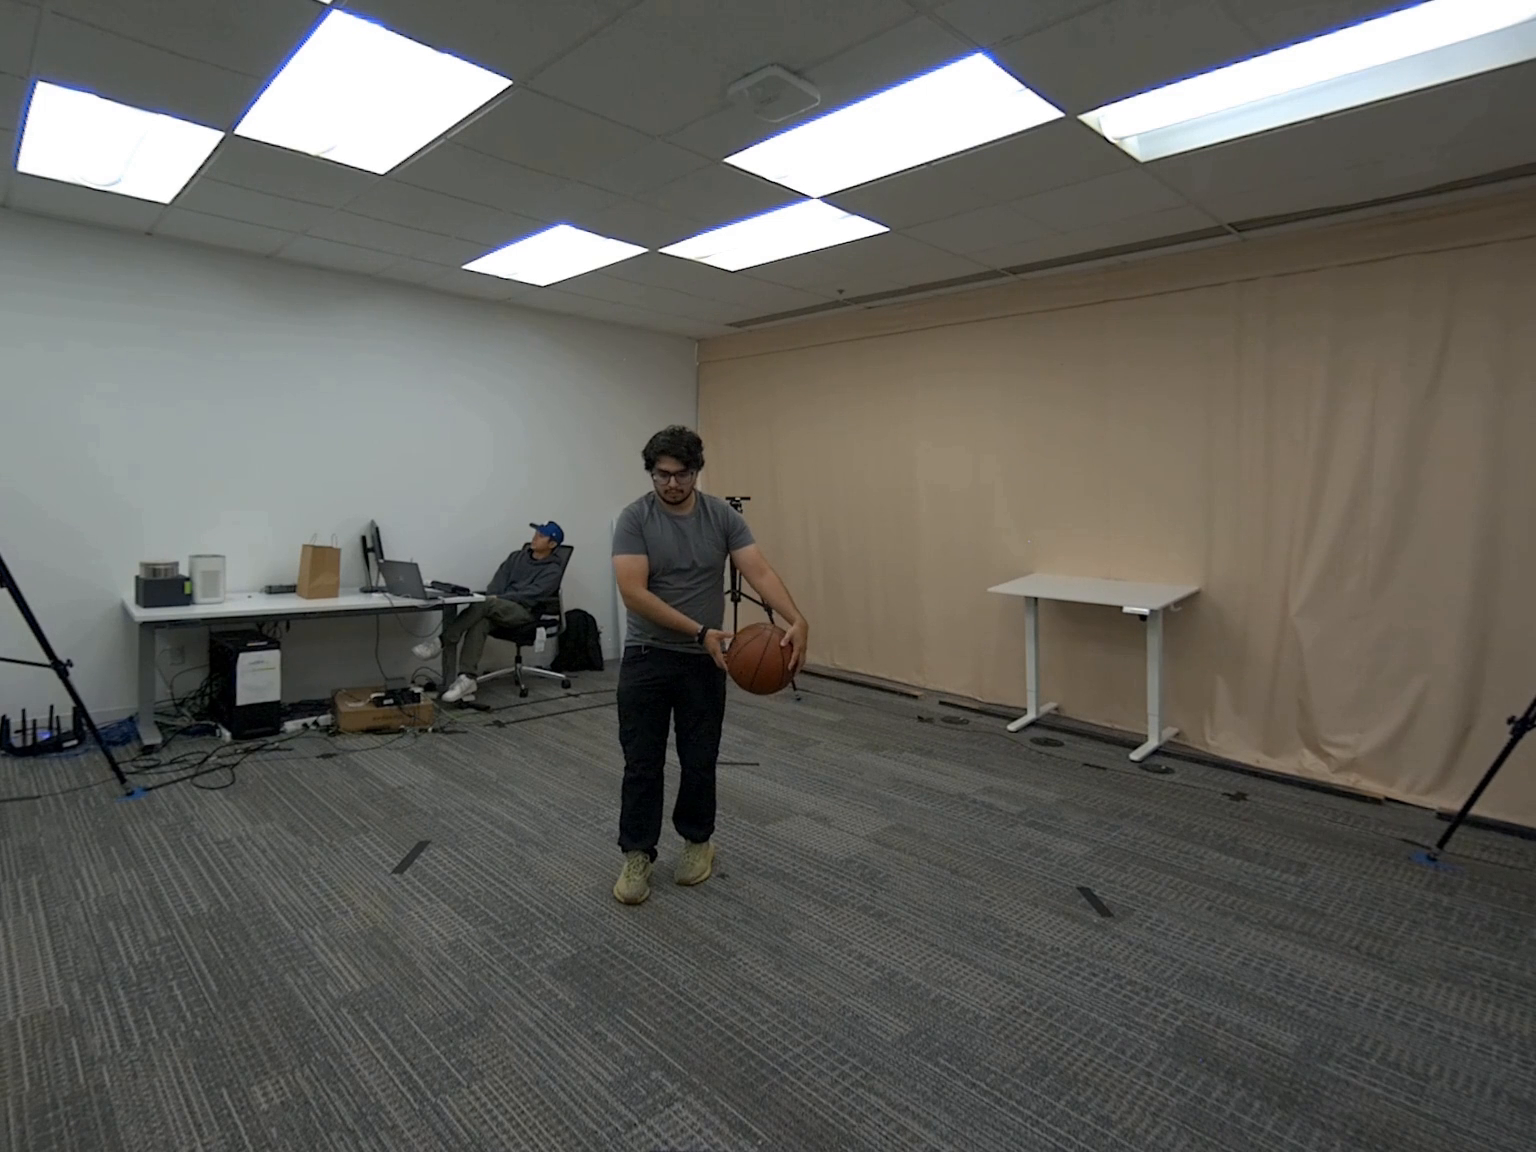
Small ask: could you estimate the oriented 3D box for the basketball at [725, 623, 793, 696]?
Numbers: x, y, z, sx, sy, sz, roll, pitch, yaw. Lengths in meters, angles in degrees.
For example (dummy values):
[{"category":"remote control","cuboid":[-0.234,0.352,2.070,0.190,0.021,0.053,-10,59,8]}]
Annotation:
[{"category":"basketball","cuboid":[-0.026,0.273,2.787,0.236,0.235,0.237,1,4,-1]}]
